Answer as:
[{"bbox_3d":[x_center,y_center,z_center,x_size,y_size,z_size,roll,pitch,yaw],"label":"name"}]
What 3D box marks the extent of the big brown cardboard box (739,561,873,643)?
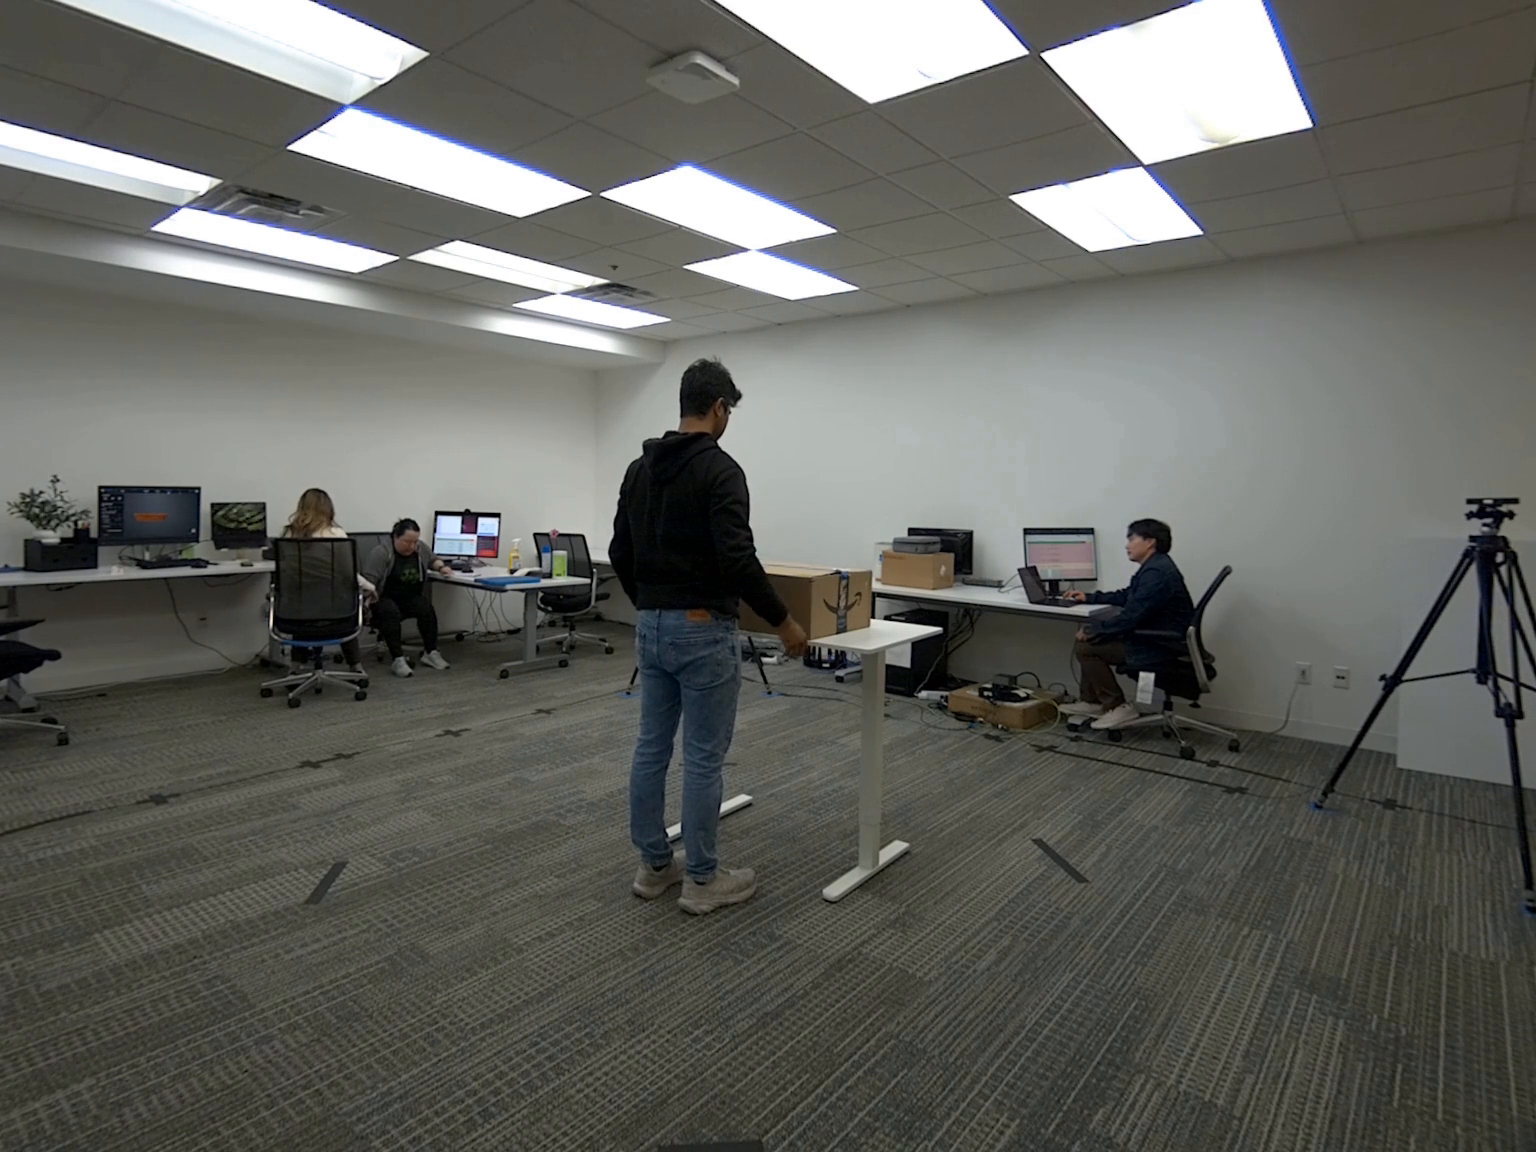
[{"bbox_3d":[0.033,0.069,3.203,0.608,0.232,0.405,4,6,37],"label":"big brown cardboard box"}]
